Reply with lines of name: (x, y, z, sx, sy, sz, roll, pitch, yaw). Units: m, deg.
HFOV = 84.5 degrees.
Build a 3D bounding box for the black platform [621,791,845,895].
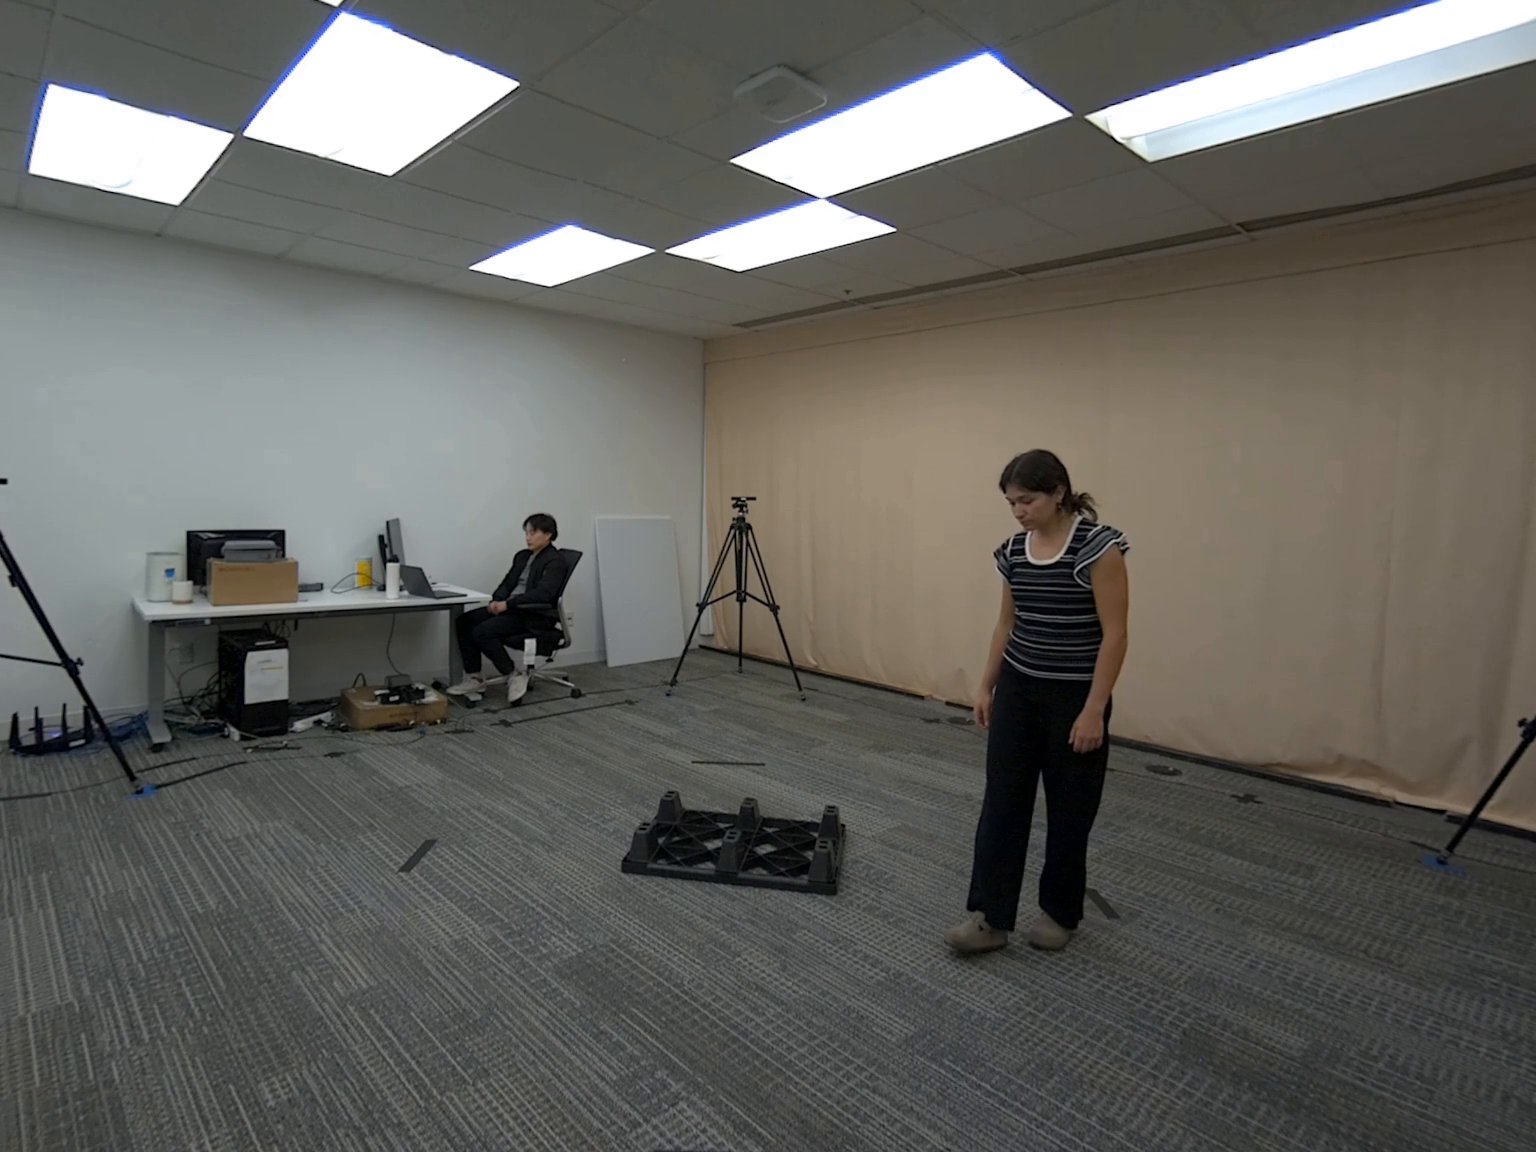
black platform: (-0.113, 1.020, 3.326, 0.812, 0.143, 0.602, 2, 5, 10)
